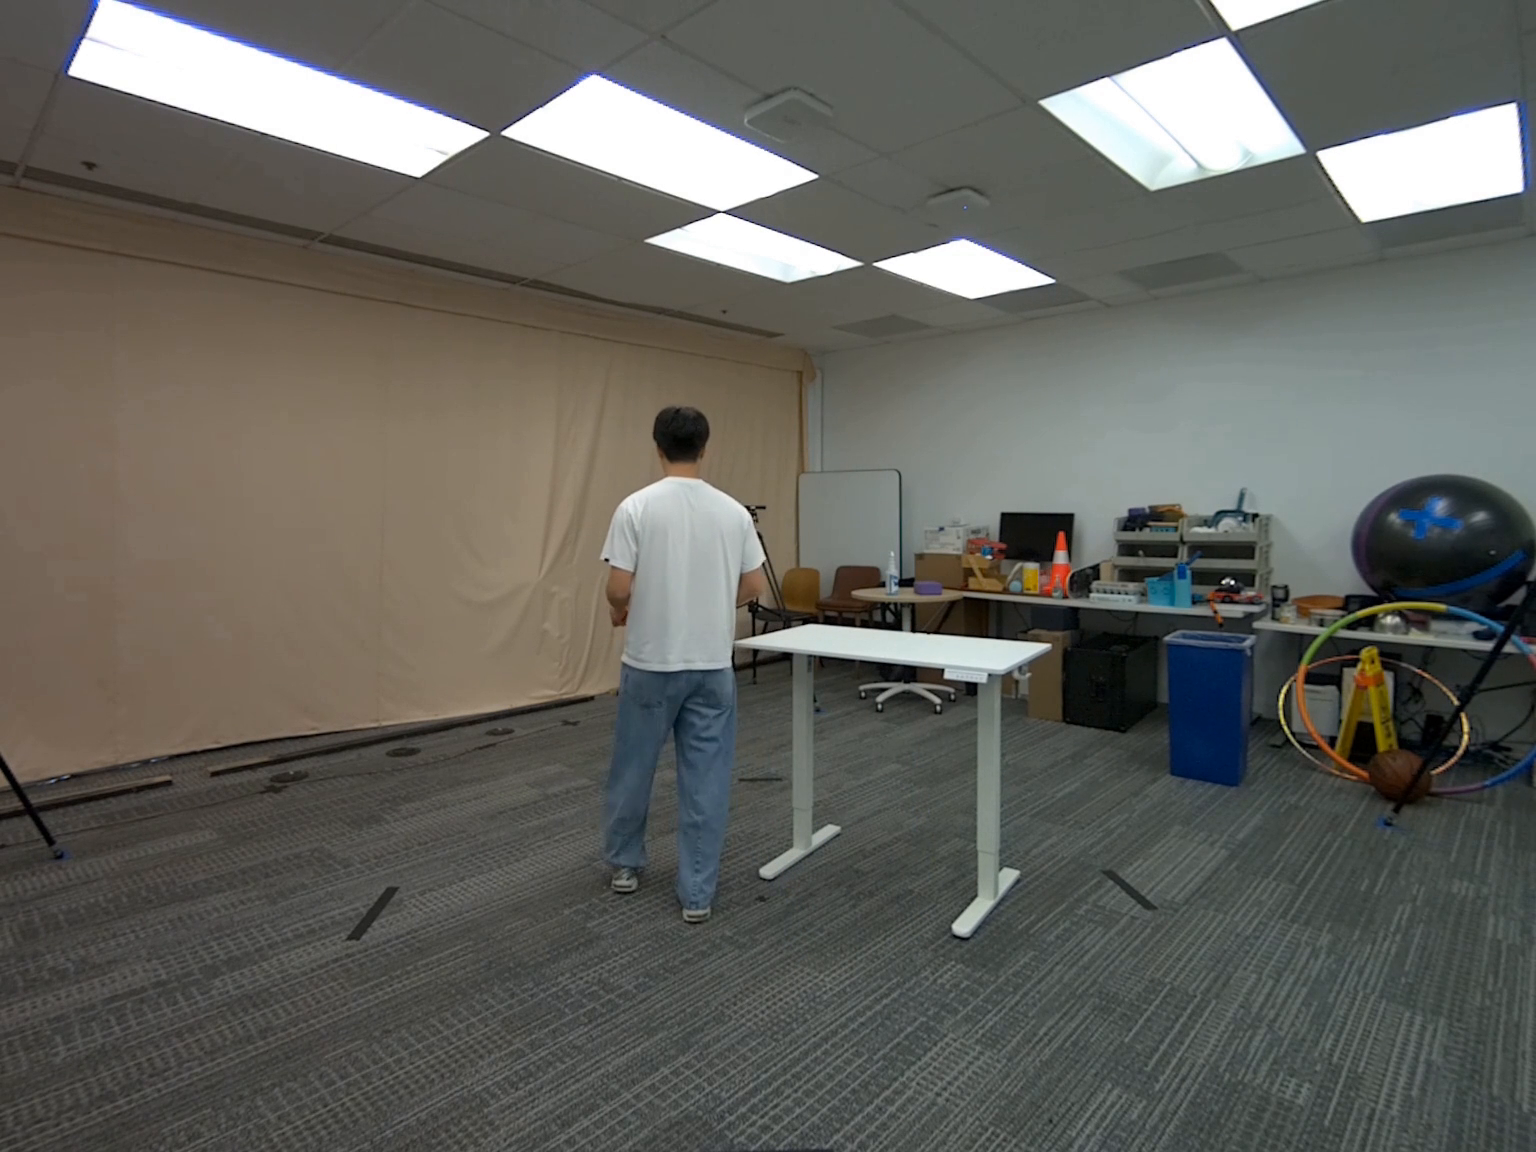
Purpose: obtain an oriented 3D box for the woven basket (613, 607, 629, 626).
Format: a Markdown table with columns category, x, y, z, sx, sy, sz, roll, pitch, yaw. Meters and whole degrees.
| category | x | y | z | sx | sy | sz | roll | pitch | yaw |
| --- | --- | --- | --- | --- | --- | --- | --- | --- | --- |
| woven basket | -0.417 | 0.156 | 3.171 | 0.345 | 0.073 | 0.258 | -1 | 9 | -16 |
